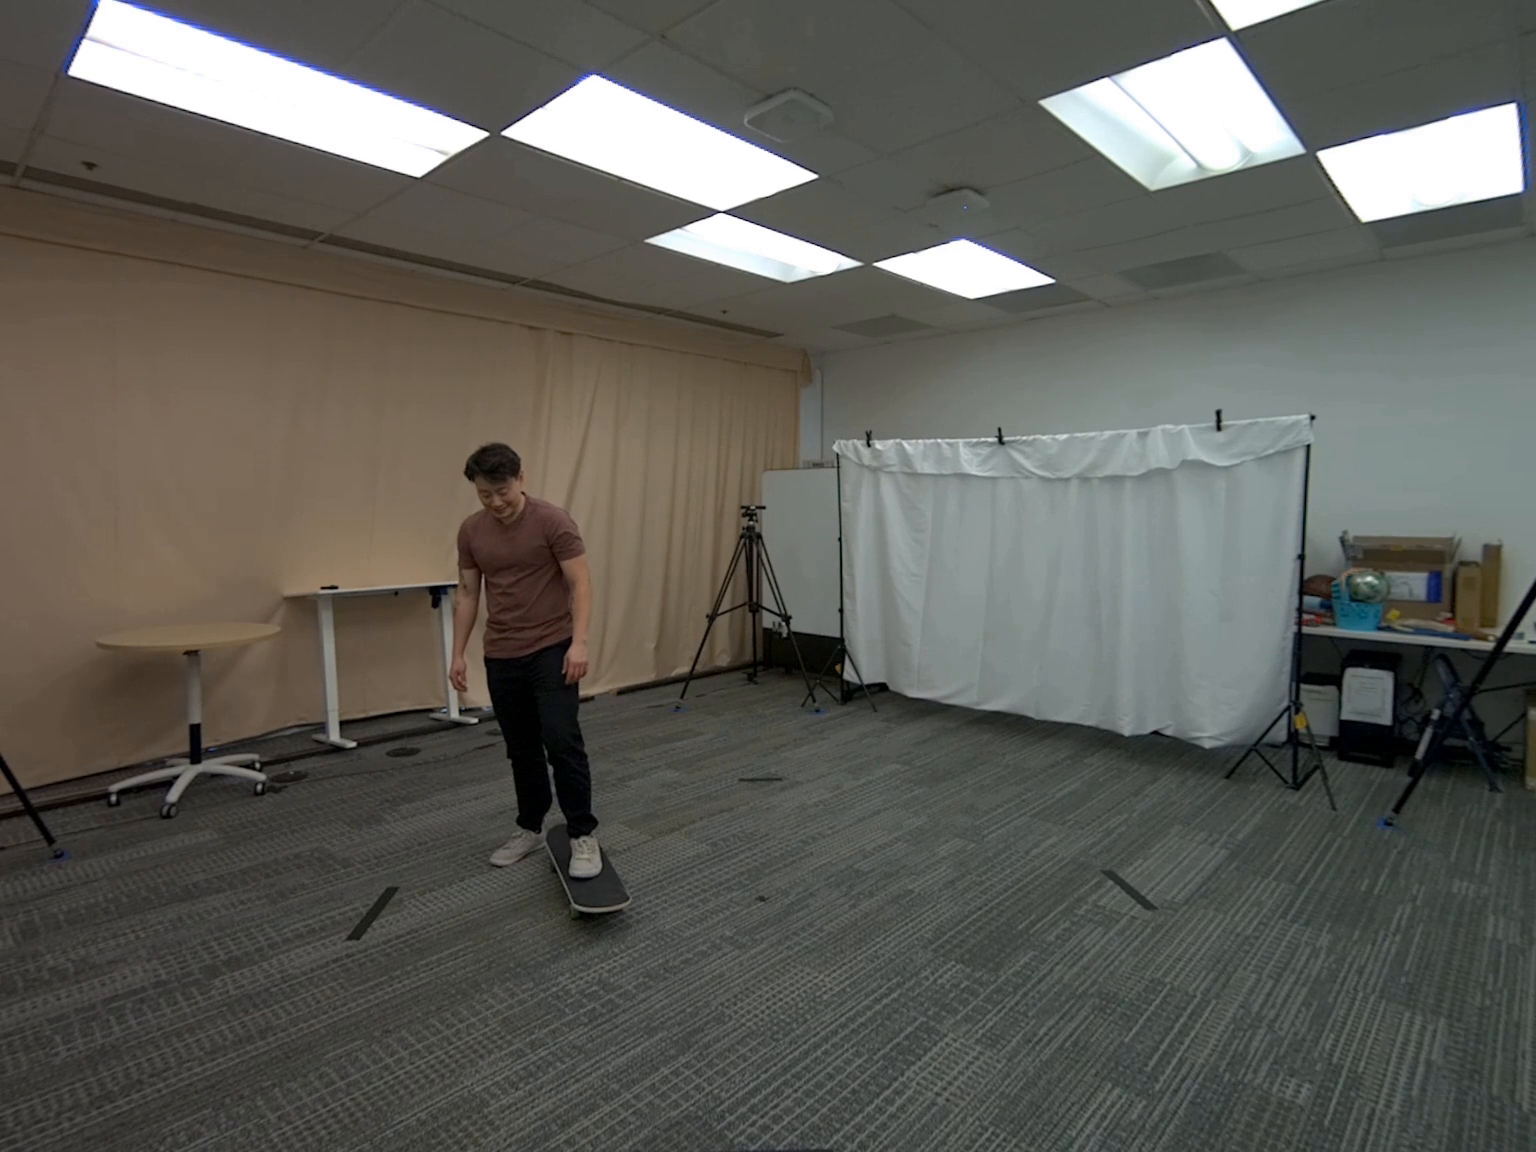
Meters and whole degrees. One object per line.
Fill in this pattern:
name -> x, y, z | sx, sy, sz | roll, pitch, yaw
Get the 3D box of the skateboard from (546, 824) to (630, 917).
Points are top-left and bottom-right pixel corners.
skateboard -> -0.665, 1.083, 3.068 | 0.189, 0.110, 0.804 | -1, 5, -22
